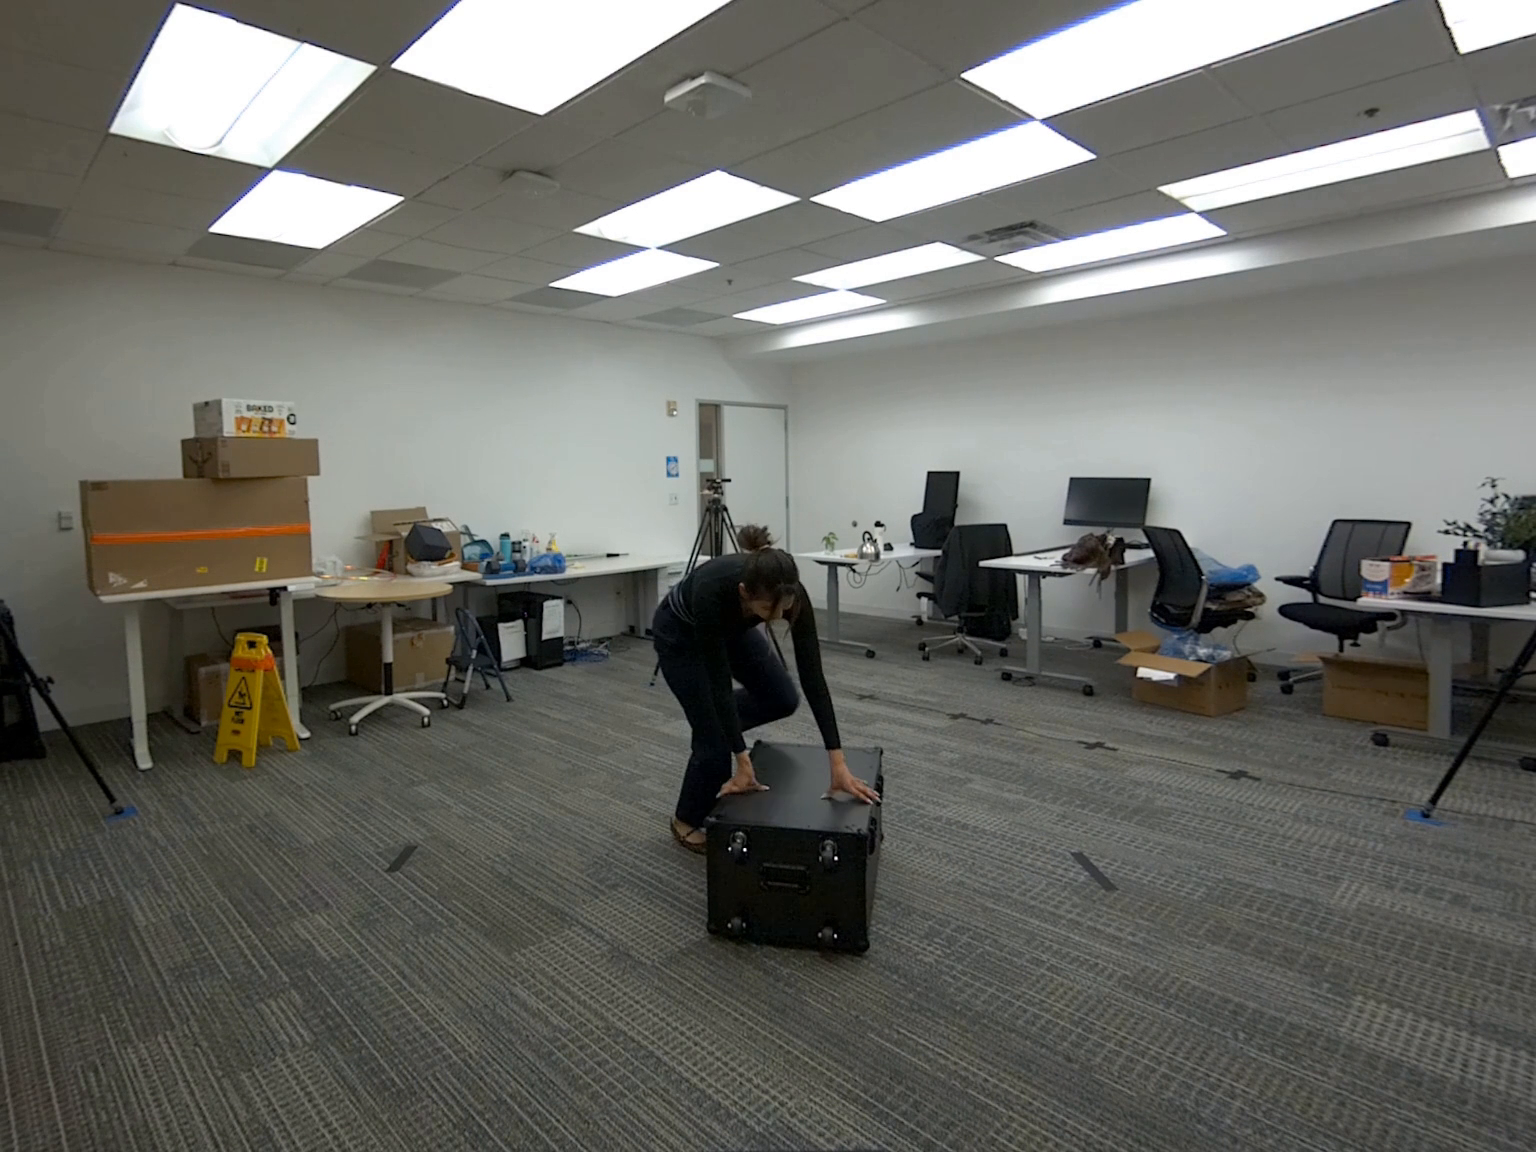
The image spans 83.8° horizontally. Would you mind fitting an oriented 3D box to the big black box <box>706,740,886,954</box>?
[{"bbox_3d":[0.112,0.873,2.862,0.528,0.395,0.854,0,5,12],"label":"big black box"}]
